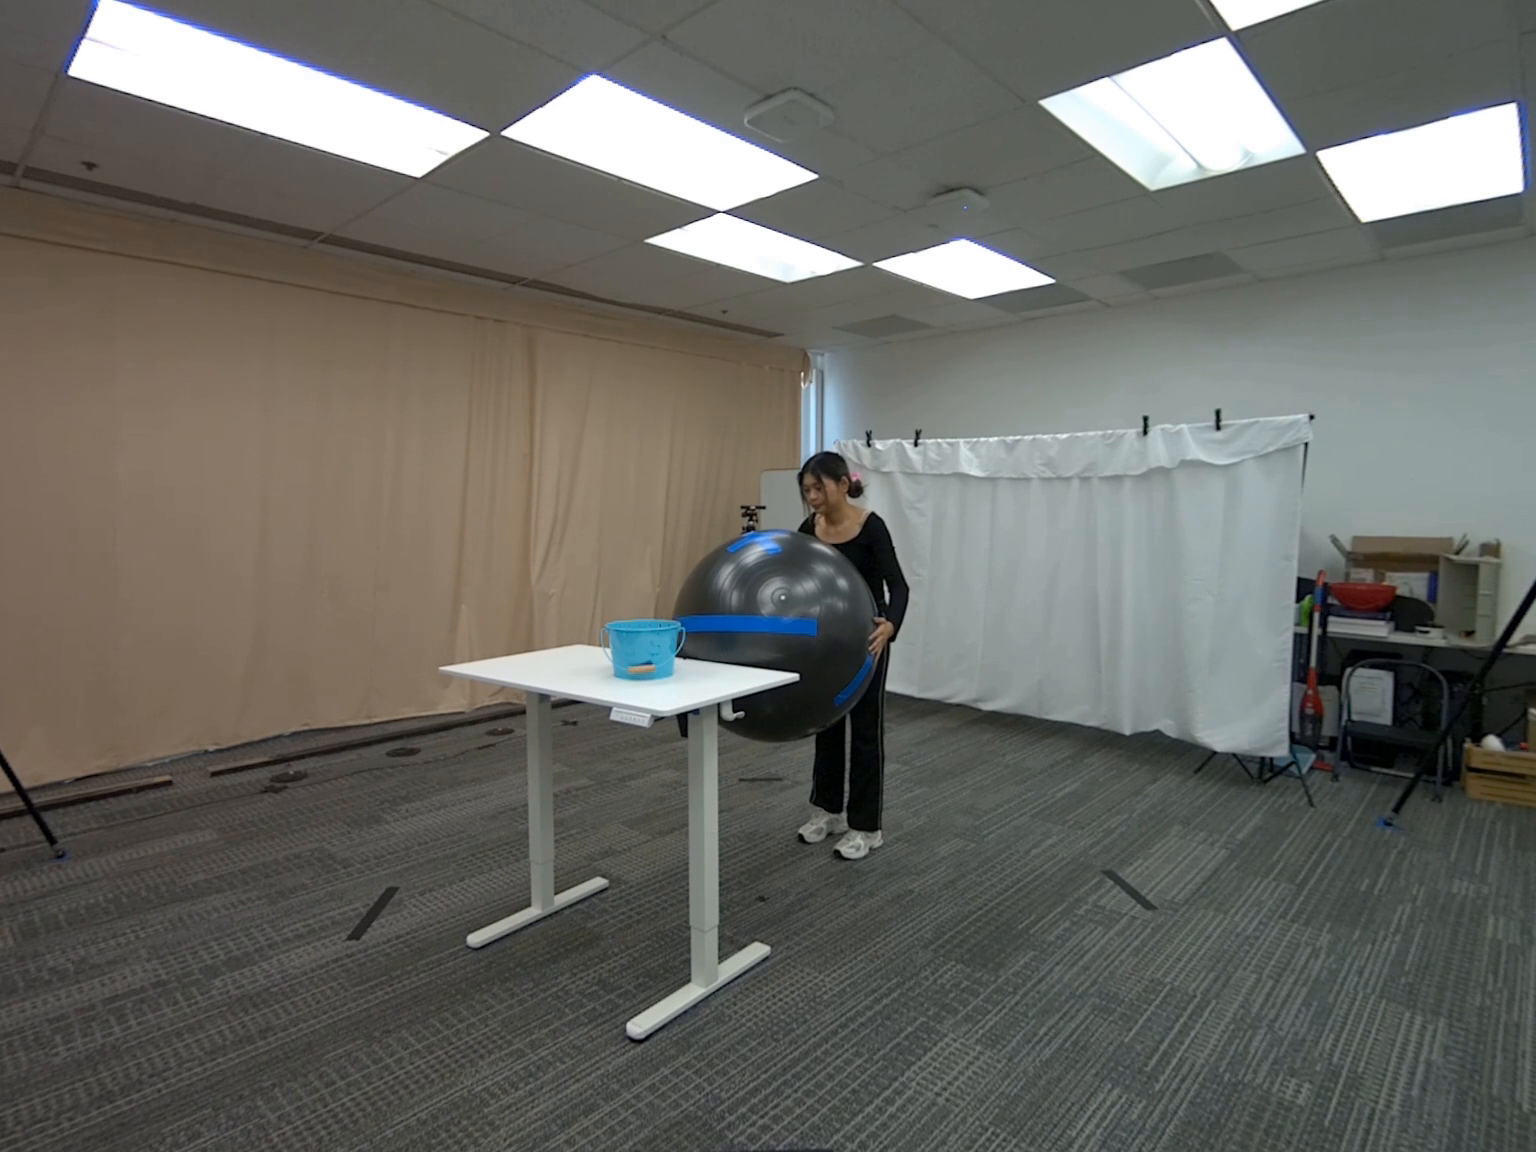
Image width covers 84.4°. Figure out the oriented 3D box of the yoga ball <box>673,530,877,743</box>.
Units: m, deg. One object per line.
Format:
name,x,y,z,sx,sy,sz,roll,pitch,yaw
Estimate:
yoga ball,0.027,0.212,3.057,0.757,0.756,0.761,0,4,-2
